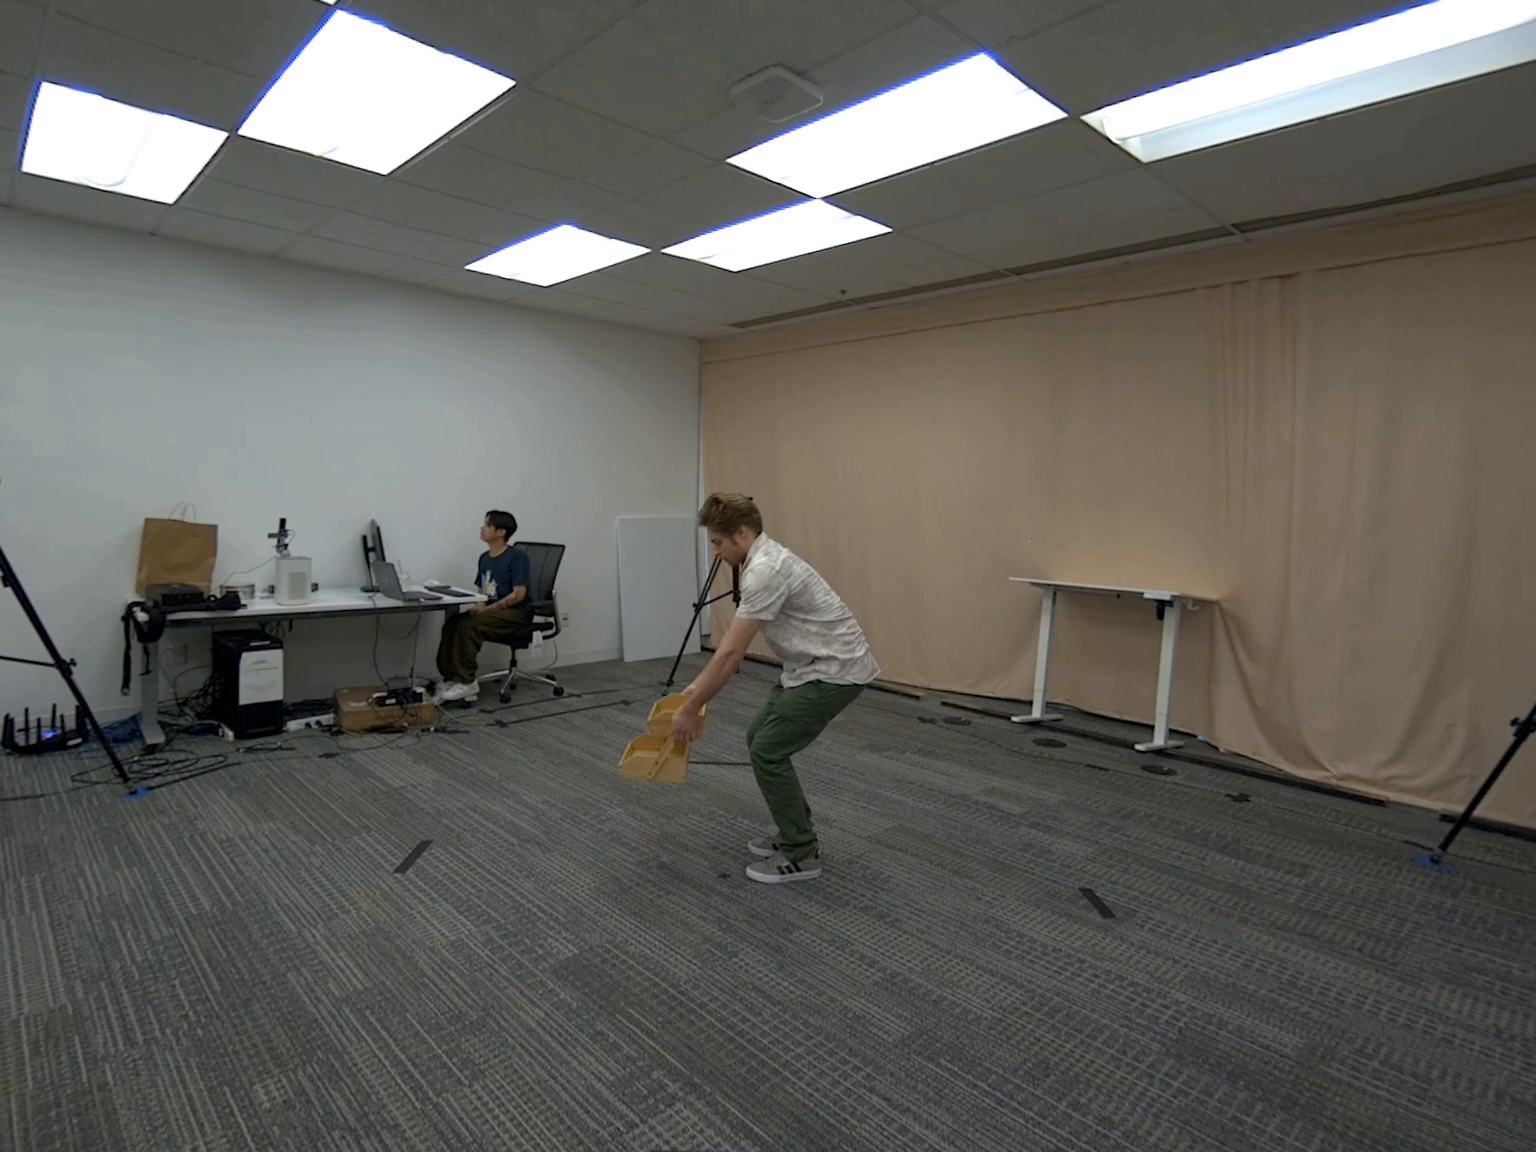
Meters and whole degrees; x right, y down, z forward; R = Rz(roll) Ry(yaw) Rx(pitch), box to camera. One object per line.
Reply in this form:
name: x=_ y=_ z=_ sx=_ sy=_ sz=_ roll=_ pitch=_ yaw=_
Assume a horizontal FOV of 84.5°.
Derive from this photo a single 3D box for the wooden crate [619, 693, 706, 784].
wooden crate: x=-0.402 y=0.606 z=3.243 sx=0.302 sy=0.273 sz=0.325 roll=5 pitch=4 yaw=-1
